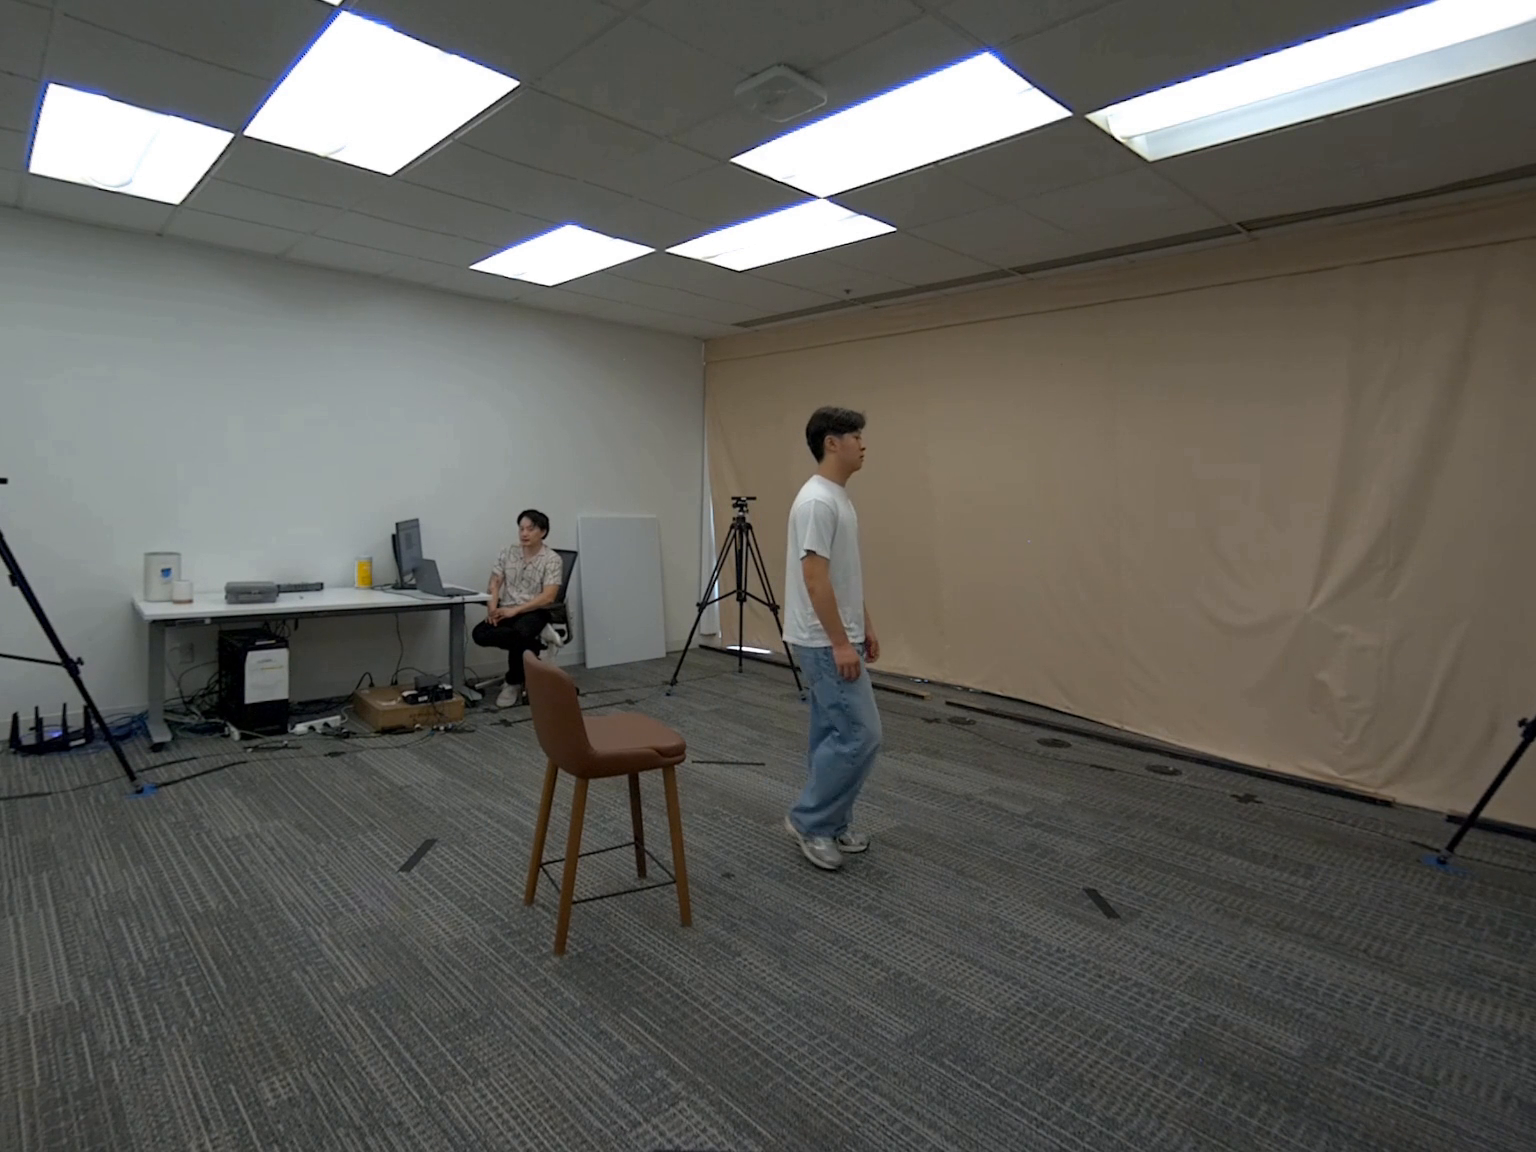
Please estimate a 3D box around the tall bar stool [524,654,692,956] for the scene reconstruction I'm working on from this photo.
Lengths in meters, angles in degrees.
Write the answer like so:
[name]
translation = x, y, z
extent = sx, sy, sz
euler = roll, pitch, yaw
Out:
[tall bar stool]
translation = -0.543, 0.692, 2.775
extent = 0.458, 0.887, 0.467
euler = -3, 5, -30
